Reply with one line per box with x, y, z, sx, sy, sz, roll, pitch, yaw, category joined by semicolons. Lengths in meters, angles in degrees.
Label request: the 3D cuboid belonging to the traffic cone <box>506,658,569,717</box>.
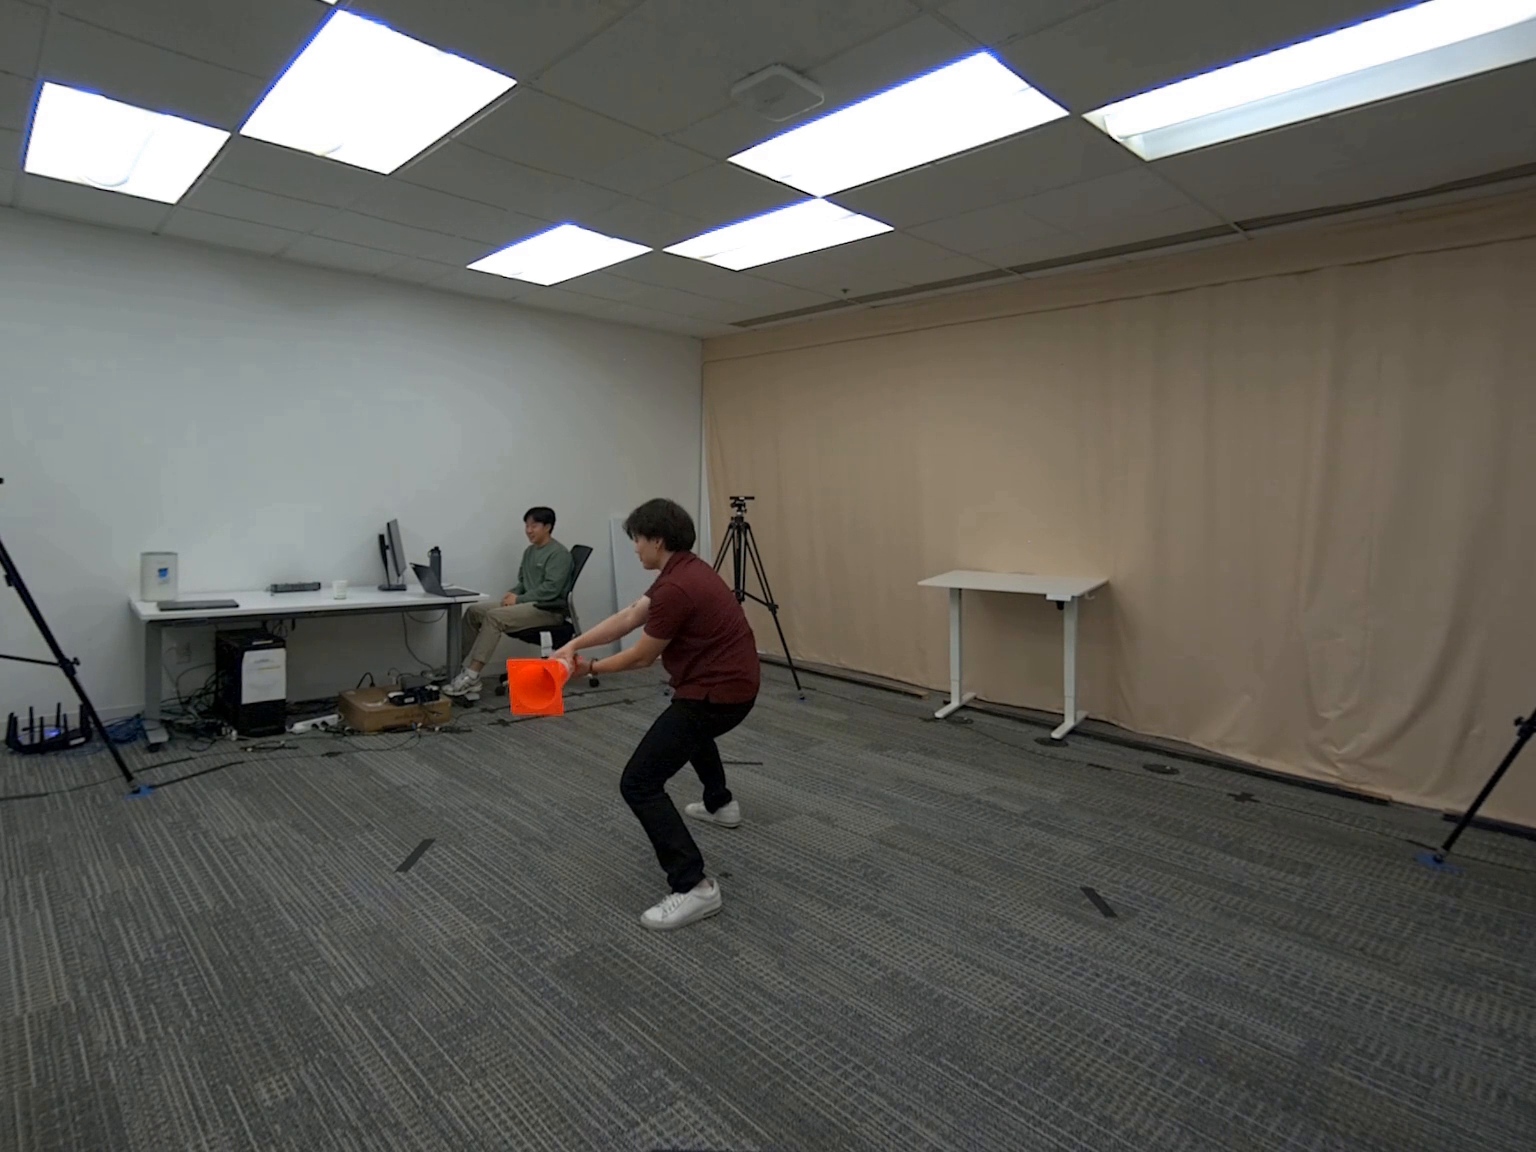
-0.773;0.356;3.110;0.207;0.202;0.382;-4;8;12;traffic cone
